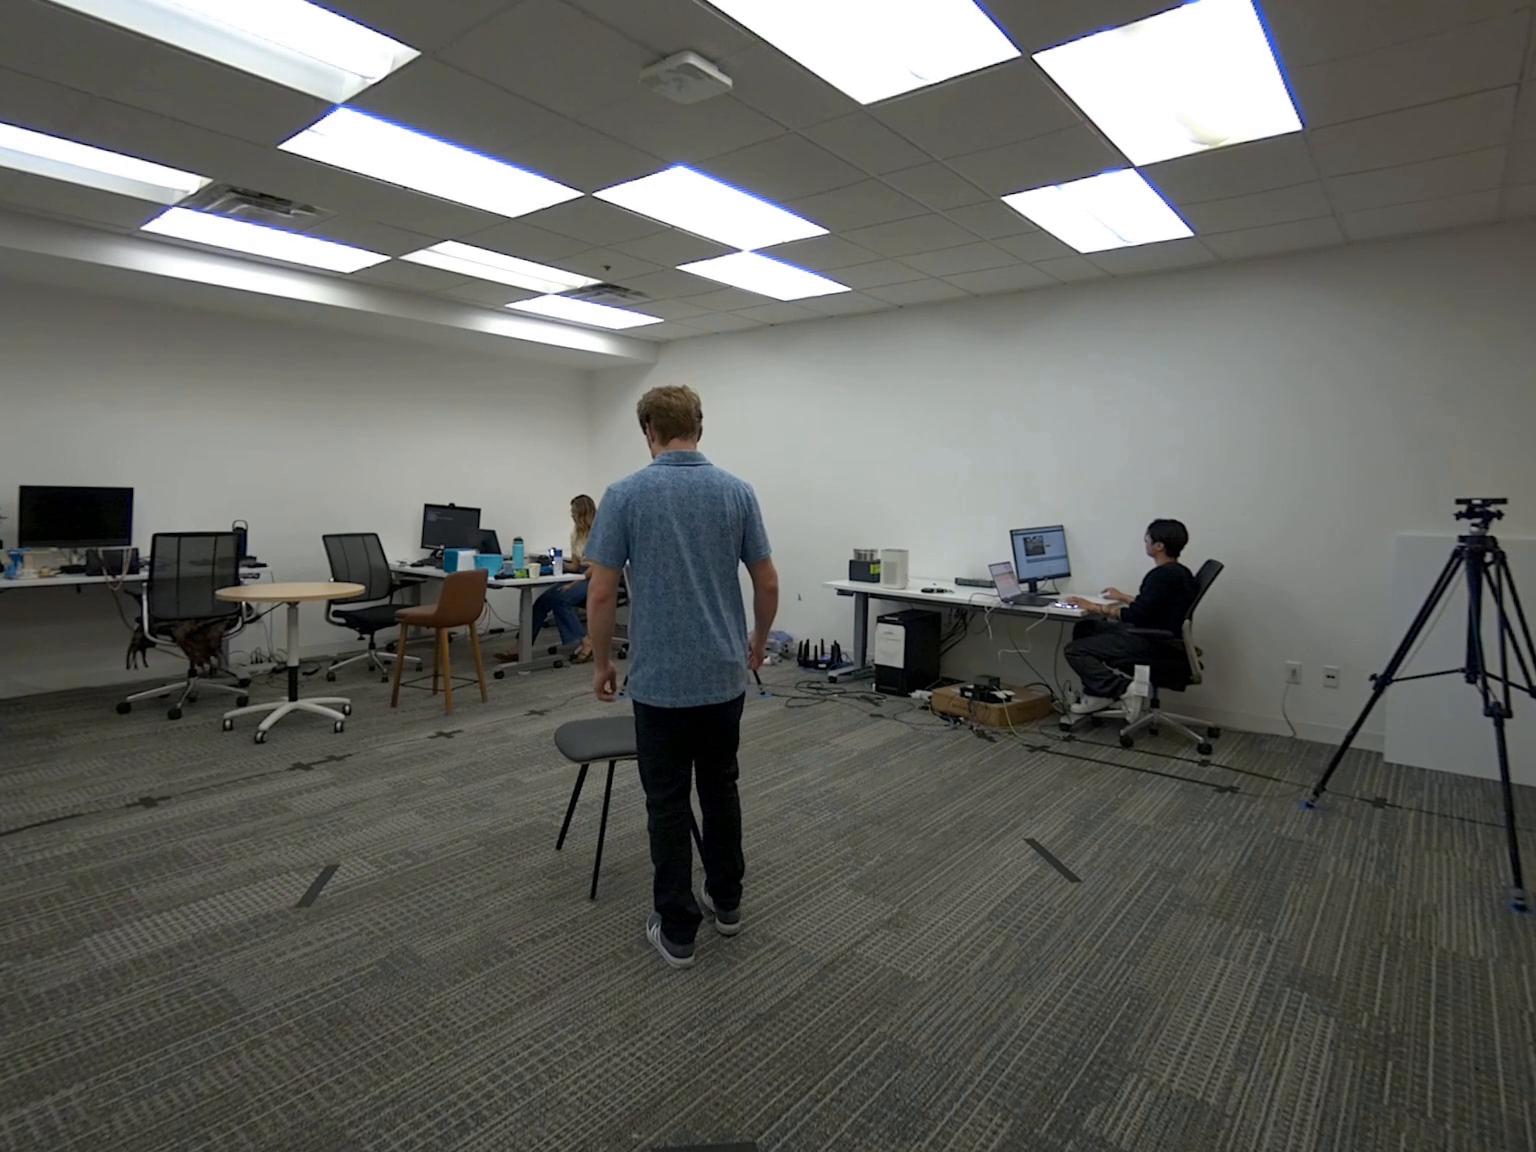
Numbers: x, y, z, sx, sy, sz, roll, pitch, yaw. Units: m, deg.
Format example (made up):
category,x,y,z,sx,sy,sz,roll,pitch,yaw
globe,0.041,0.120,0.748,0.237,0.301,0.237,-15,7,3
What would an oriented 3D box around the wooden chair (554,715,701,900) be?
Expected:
category,x,y,z,sx,sy,sz,roll,pitch,yaw
wooden chair,-0.518,0.635,3.127,0.509,0.876,0.492,4,1,-28
